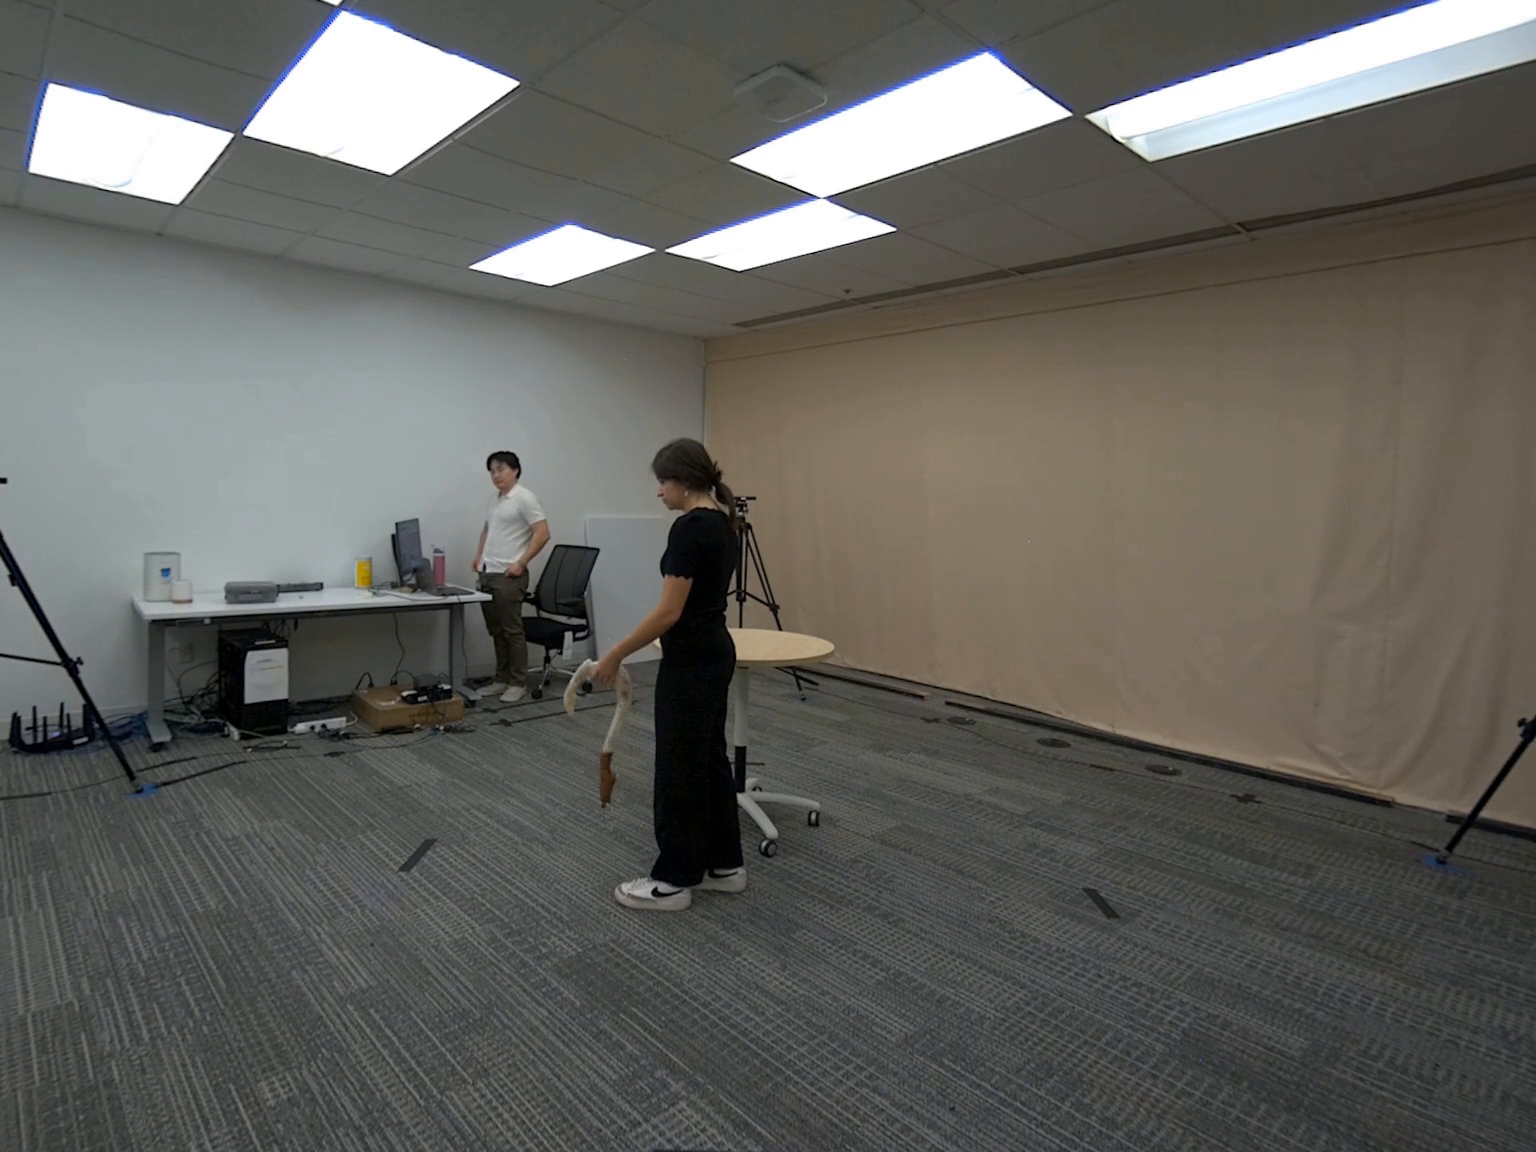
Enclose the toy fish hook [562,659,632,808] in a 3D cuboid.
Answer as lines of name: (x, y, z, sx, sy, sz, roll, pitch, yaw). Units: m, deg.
toy fish hook: (-0.598, 0.512, 2.836, 0.225, 0.506, 0.048, 5, 2, 1)
